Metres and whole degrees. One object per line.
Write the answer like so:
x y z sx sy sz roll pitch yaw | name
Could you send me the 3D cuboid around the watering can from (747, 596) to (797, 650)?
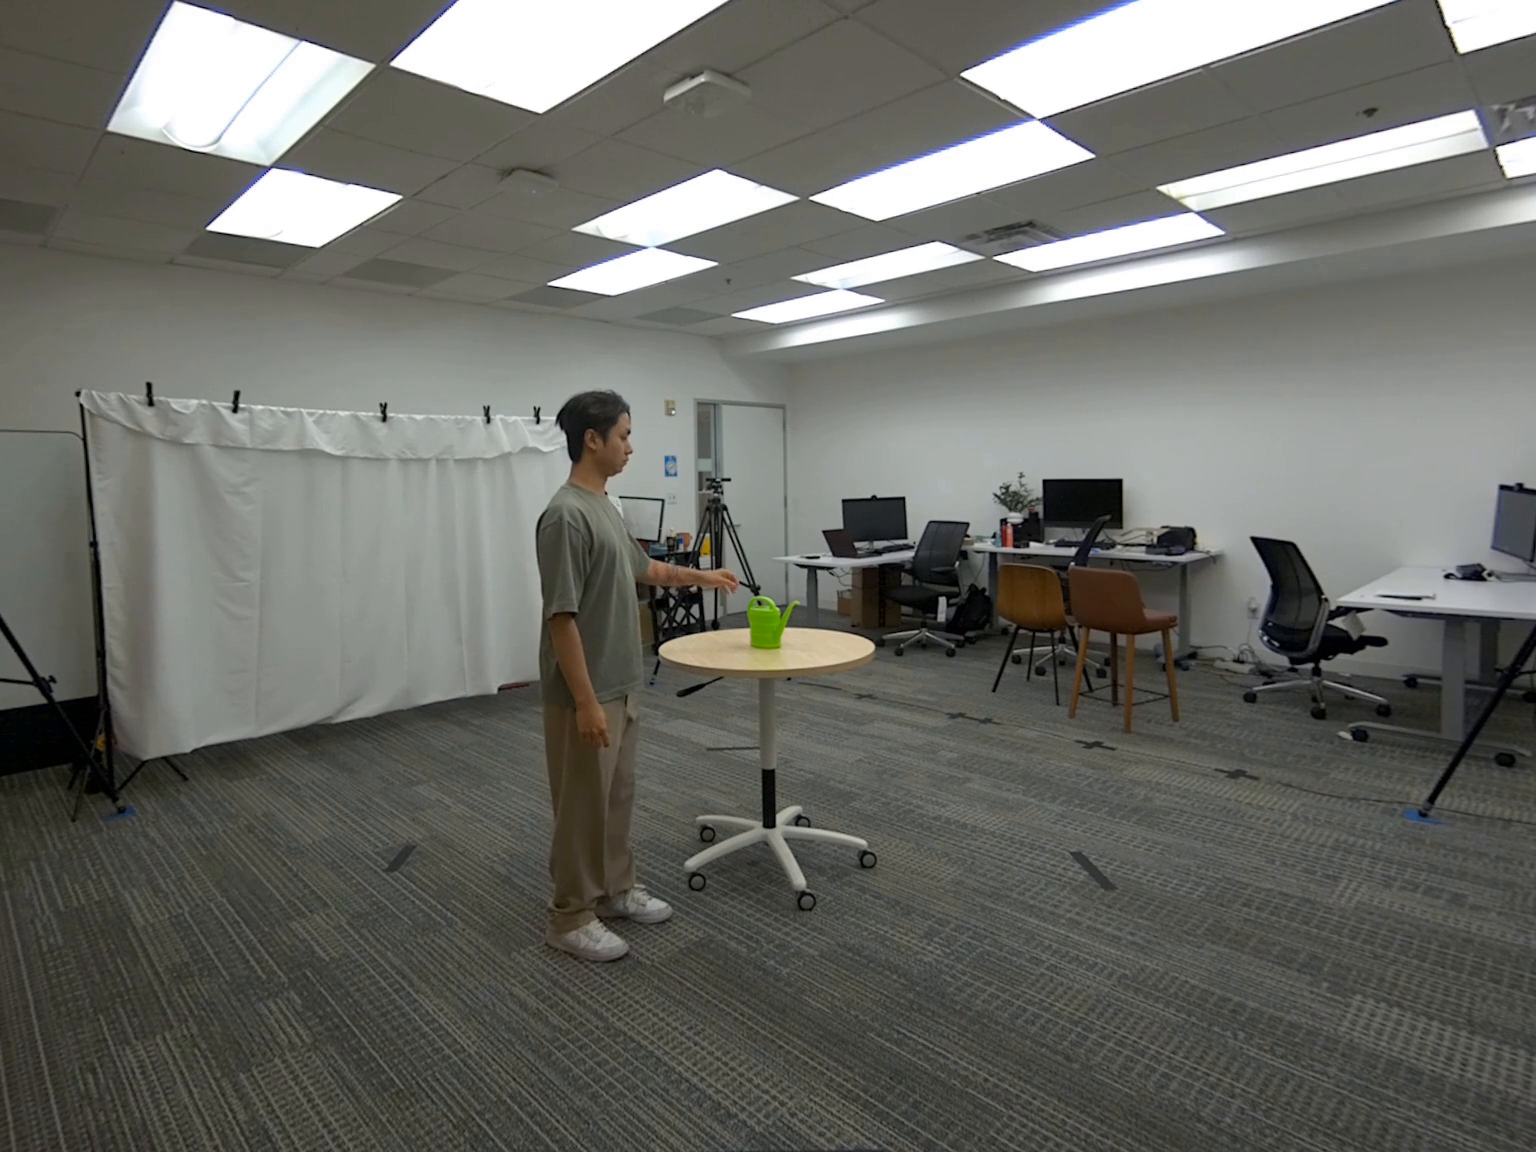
0.011 0.166 3.004 0.096 0.176 0.284 -4 5 -22 | watering can
